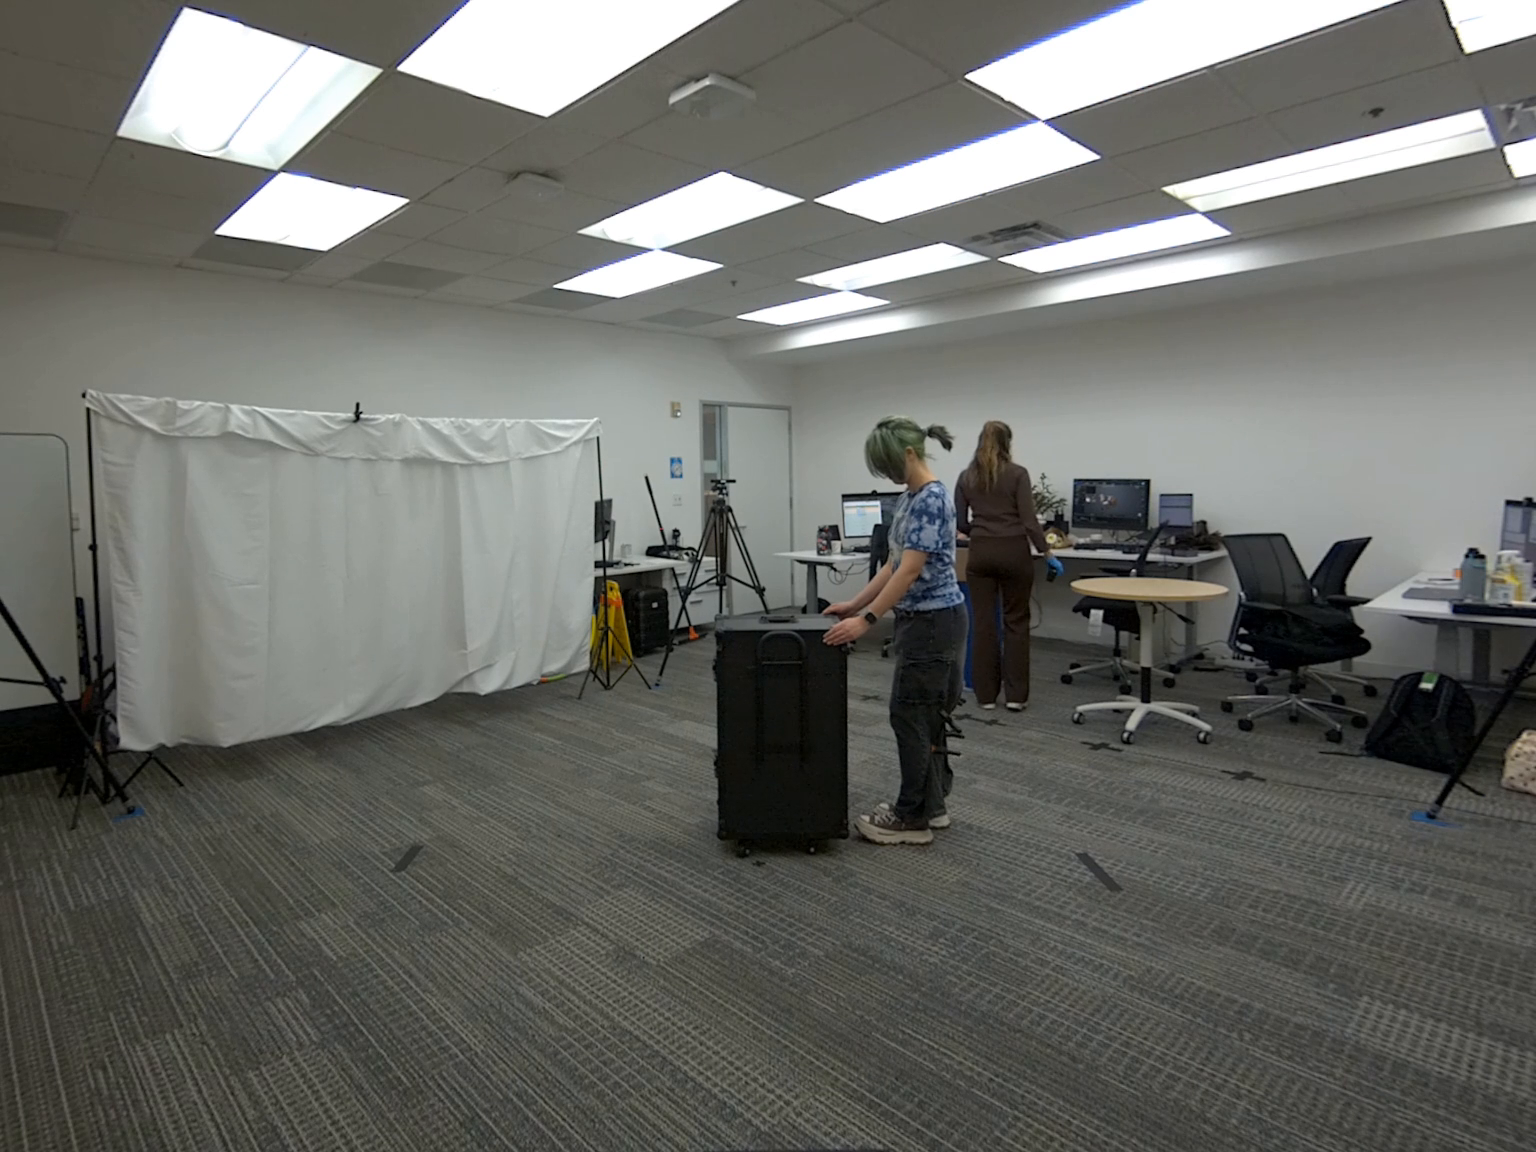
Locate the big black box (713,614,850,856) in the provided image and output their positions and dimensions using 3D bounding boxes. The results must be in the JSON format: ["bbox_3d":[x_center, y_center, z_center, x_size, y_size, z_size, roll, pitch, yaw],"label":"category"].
[{"bbox_3d":[0.052,0.608,3.285,0.521,0.858,0.397,-1,4,0],"label":"big black box"}]
